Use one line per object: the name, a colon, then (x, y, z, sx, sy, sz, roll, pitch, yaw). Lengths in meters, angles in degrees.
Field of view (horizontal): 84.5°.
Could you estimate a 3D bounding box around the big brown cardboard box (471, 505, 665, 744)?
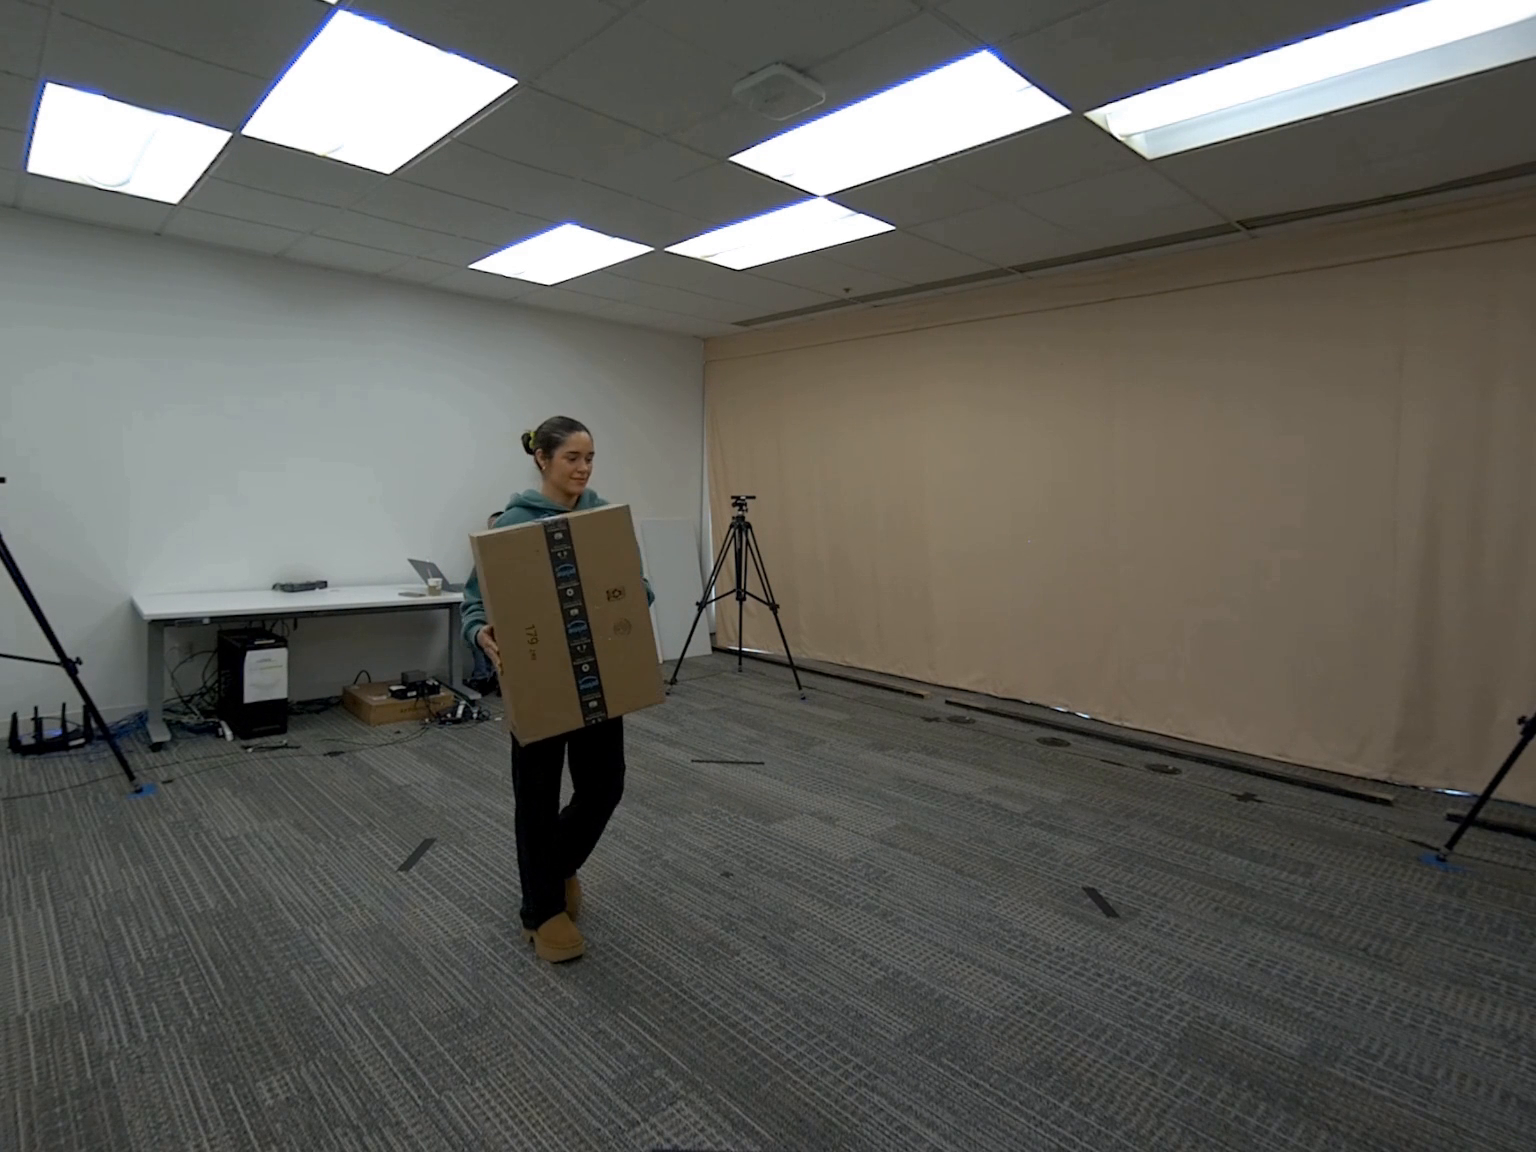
big brown cardboard box: (-0.566, 0.123, 2.345, 0.412, 0.585, 0.237, -12, 8, -22)
